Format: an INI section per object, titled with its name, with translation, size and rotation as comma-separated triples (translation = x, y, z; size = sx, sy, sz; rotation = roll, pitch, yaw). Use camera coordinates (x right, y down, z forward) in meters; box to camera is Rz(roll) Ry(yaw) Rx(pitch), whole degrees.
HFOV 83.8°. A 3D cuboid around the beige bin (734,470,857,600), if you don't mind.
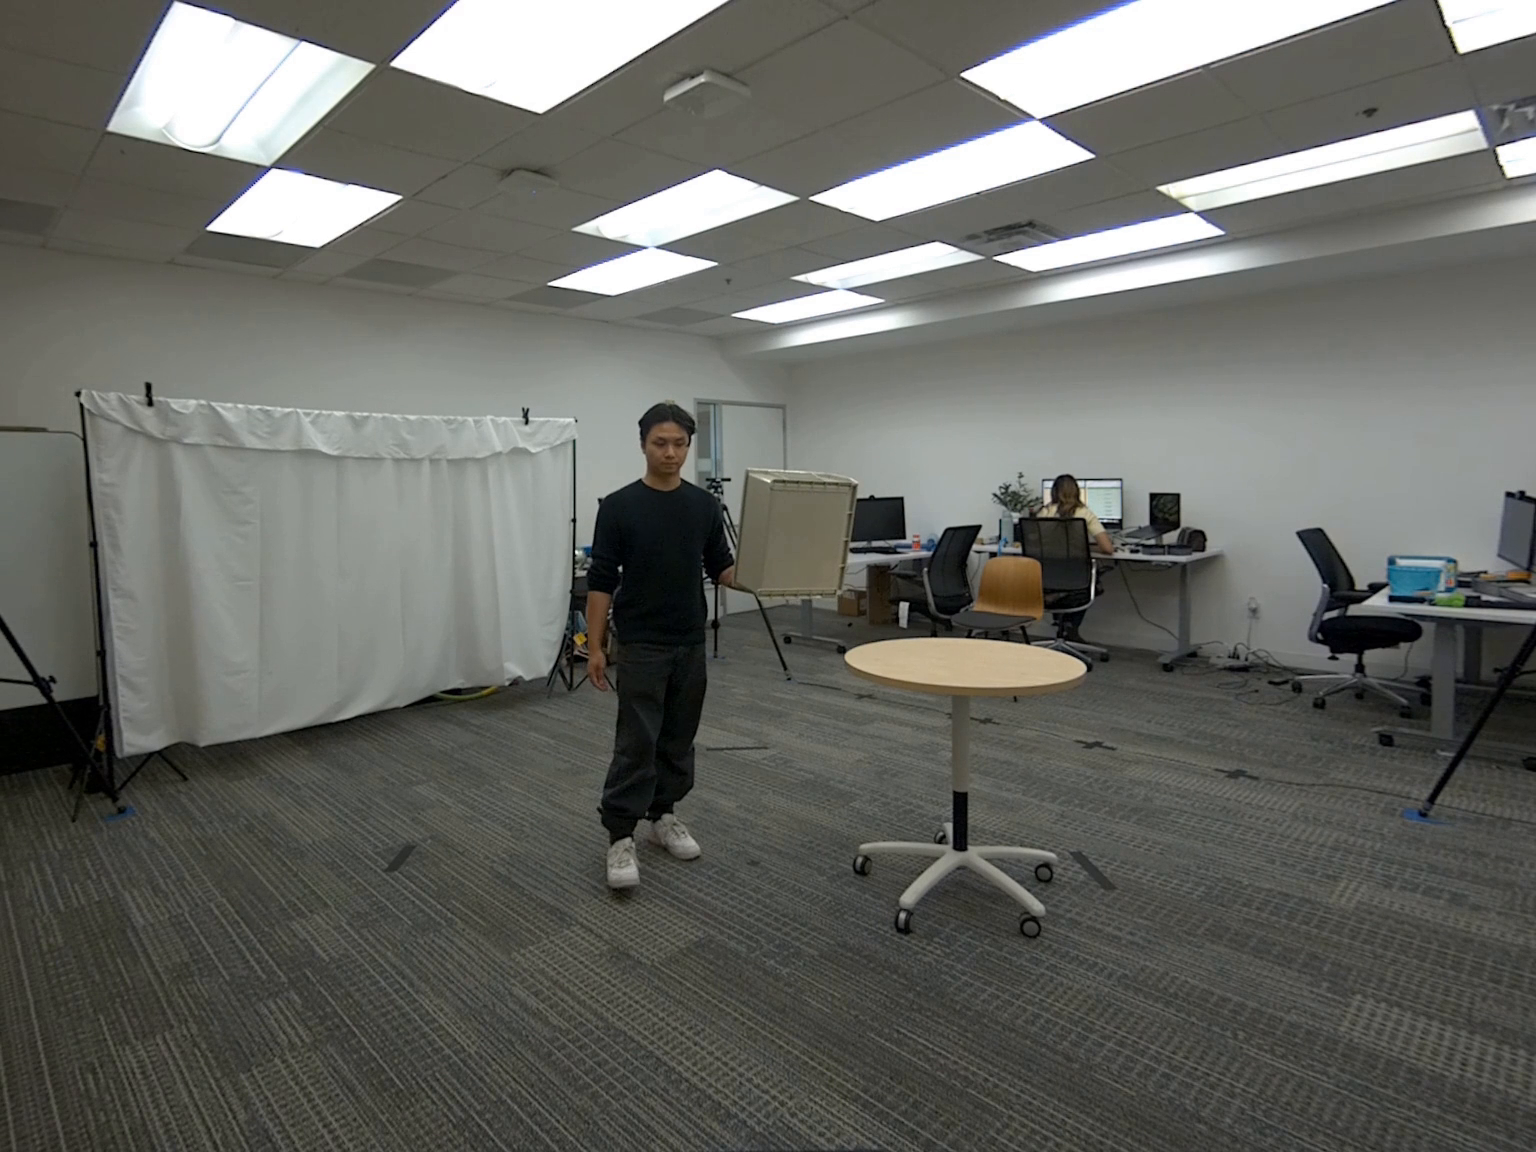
[beige bin]
translation = 0.111, -0.145, 2.981
size = 0.368, 0.418, 0.195
rotation = 1, 13, -28
